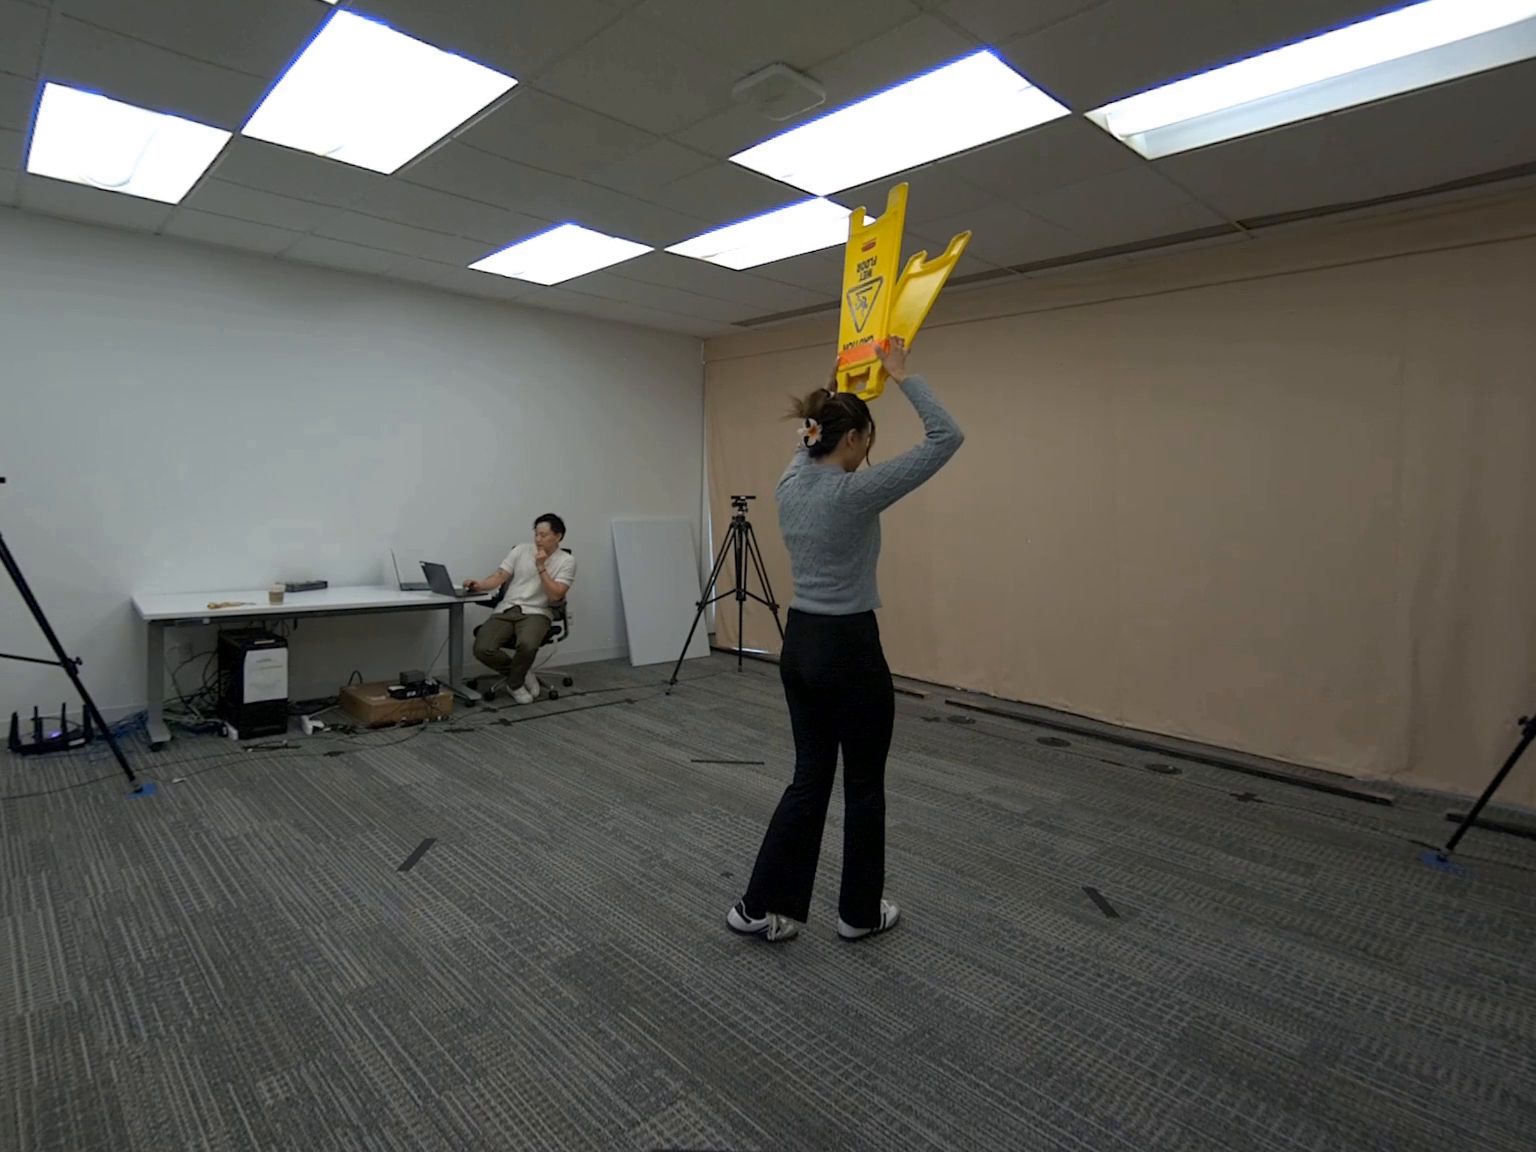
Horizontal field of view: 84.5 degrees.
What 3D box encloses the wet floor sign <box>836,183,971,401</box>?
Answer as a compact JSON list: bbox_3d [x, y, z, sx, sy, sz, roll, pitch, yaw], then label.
[{"bbox_3d":[0.357,-0.839,2.666,0.282,0.649,0.288,24,-12,-28],"label":"wet floor sign"}]
